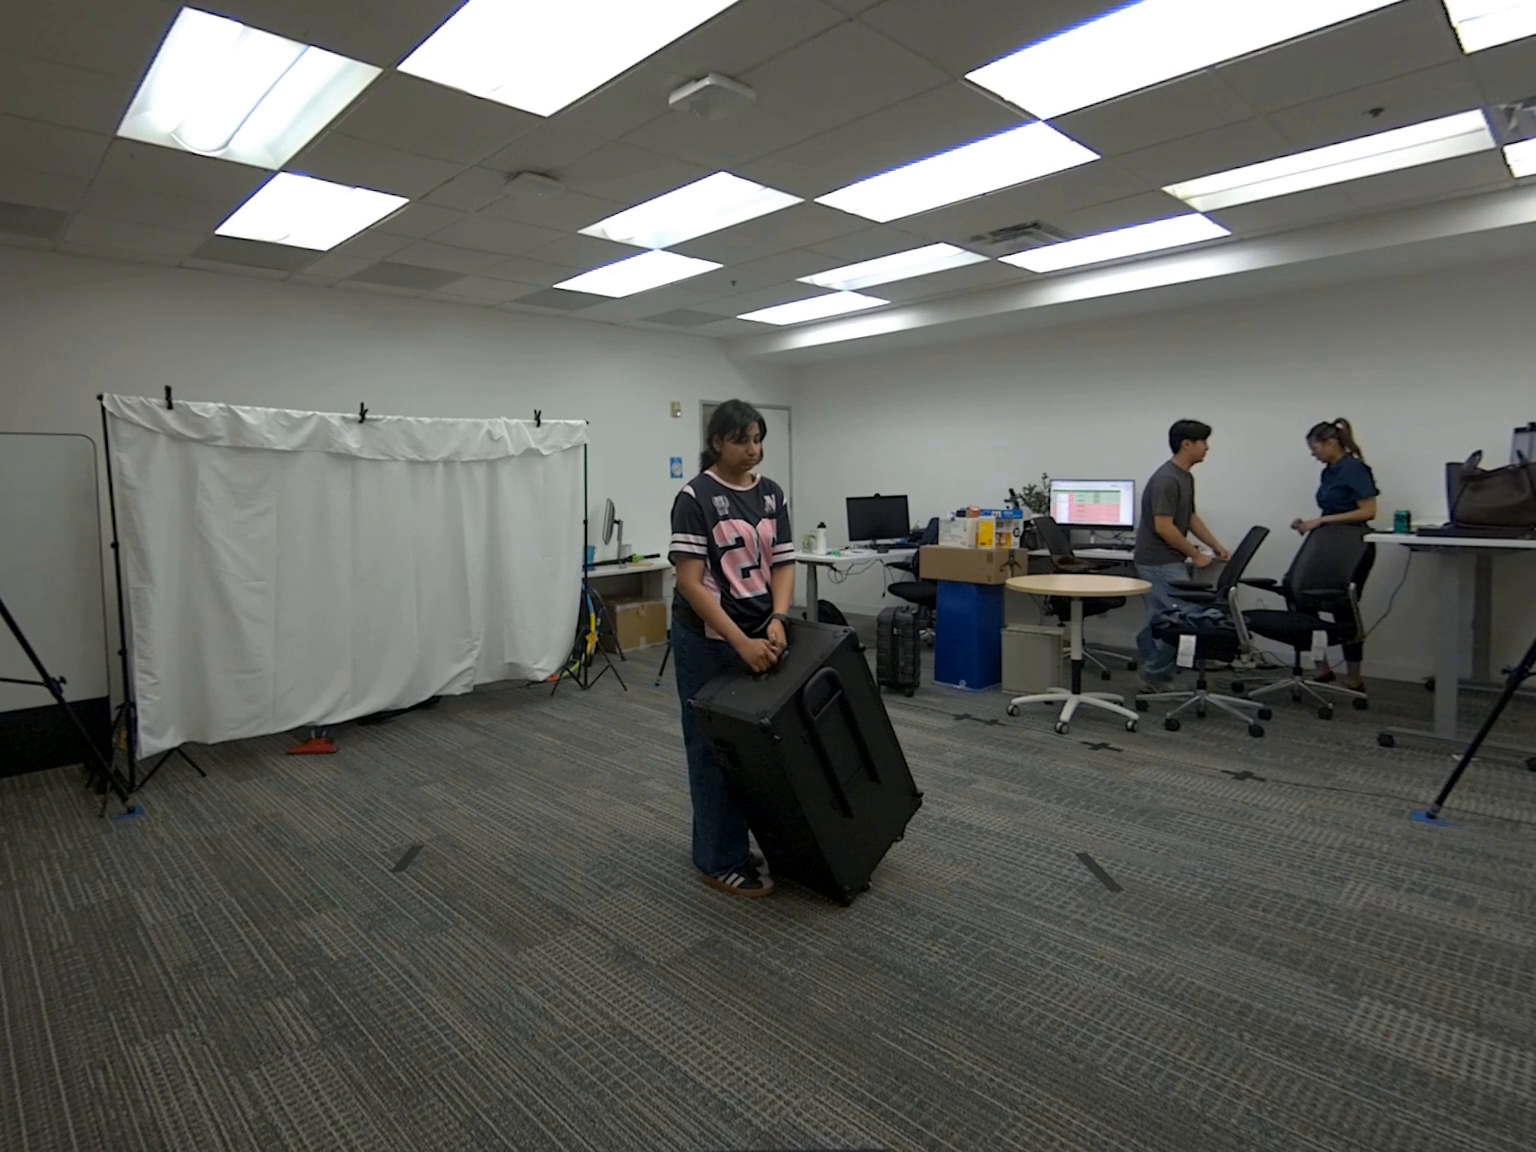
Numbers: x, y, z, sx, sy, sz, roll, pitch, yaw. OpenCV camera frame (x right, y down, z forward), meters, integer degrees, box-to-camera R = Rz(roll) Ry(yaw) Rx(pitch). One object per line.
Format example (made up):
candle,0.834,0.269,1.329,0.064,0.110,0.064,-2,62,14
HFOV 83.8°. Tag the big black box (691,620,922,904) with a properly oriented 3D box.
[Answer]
big black box,0.169,0.637,2.908,0.397,0.846,0.521,3,35,45
